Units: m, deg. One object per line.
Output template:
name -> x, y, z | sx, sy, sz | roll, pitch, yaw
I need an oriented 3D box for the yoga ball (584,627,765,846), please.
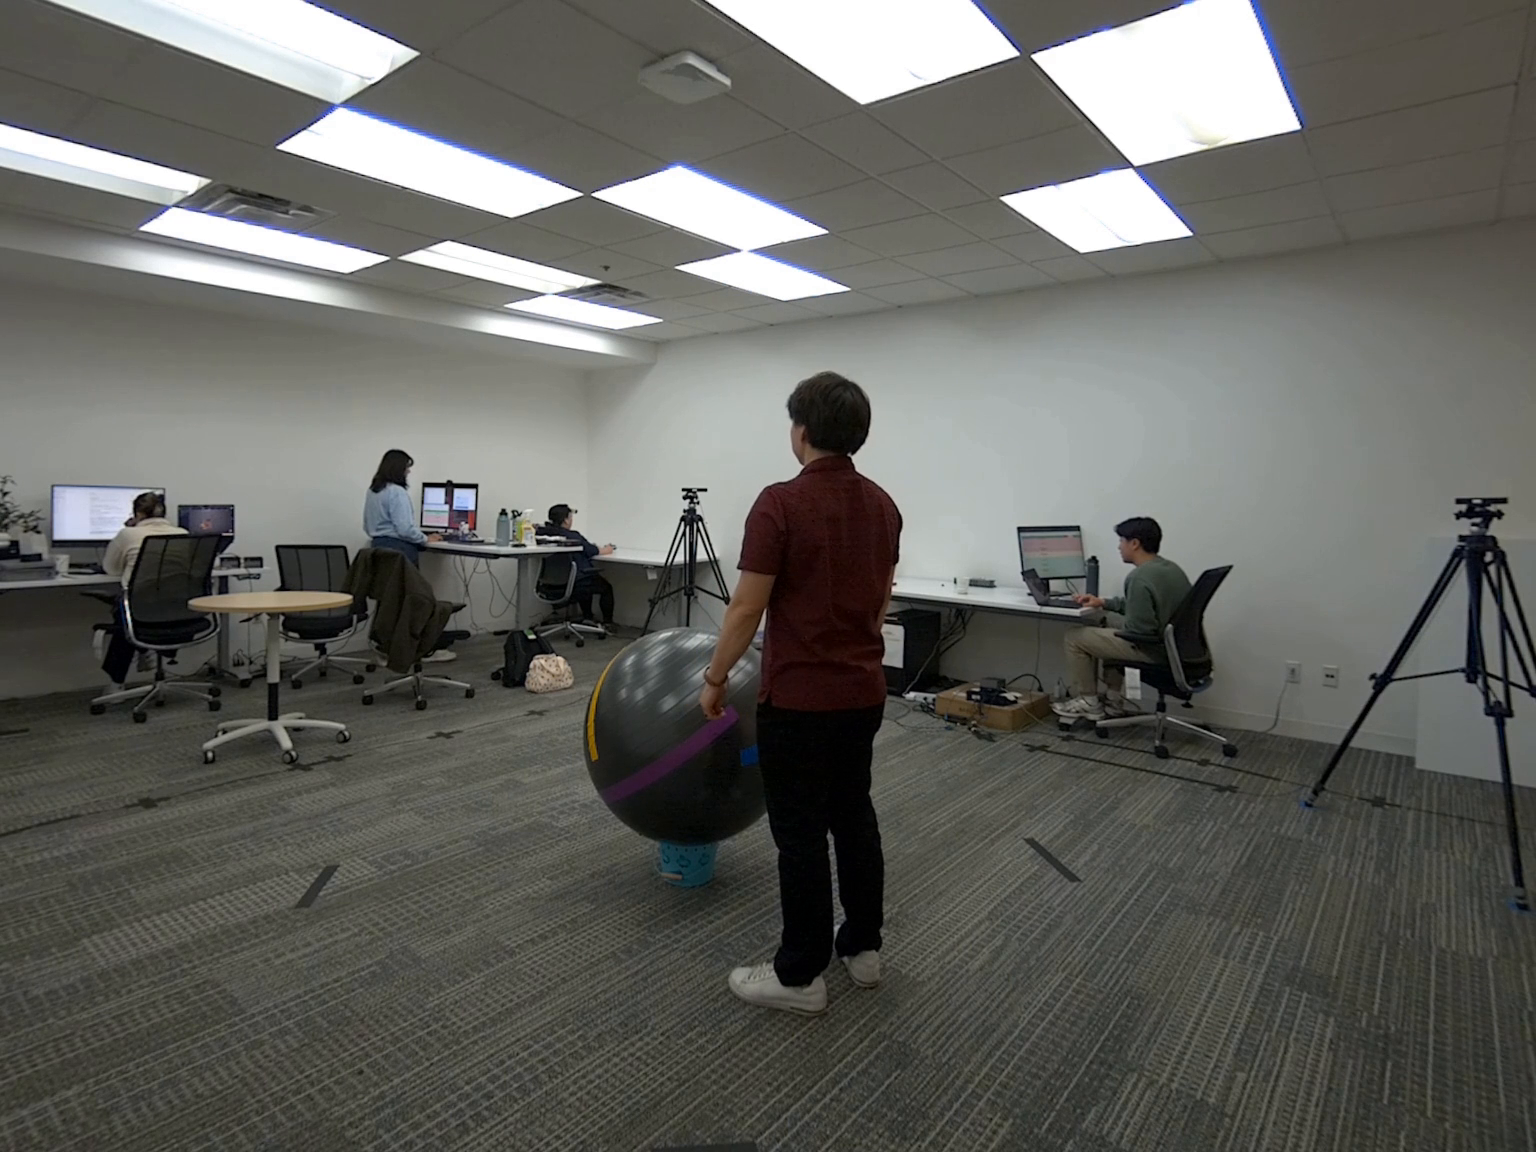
yoga ball -> -0.288, 0.565, 3.042 | 0.757, 0.756, 0.761 | 1, 4, -2
